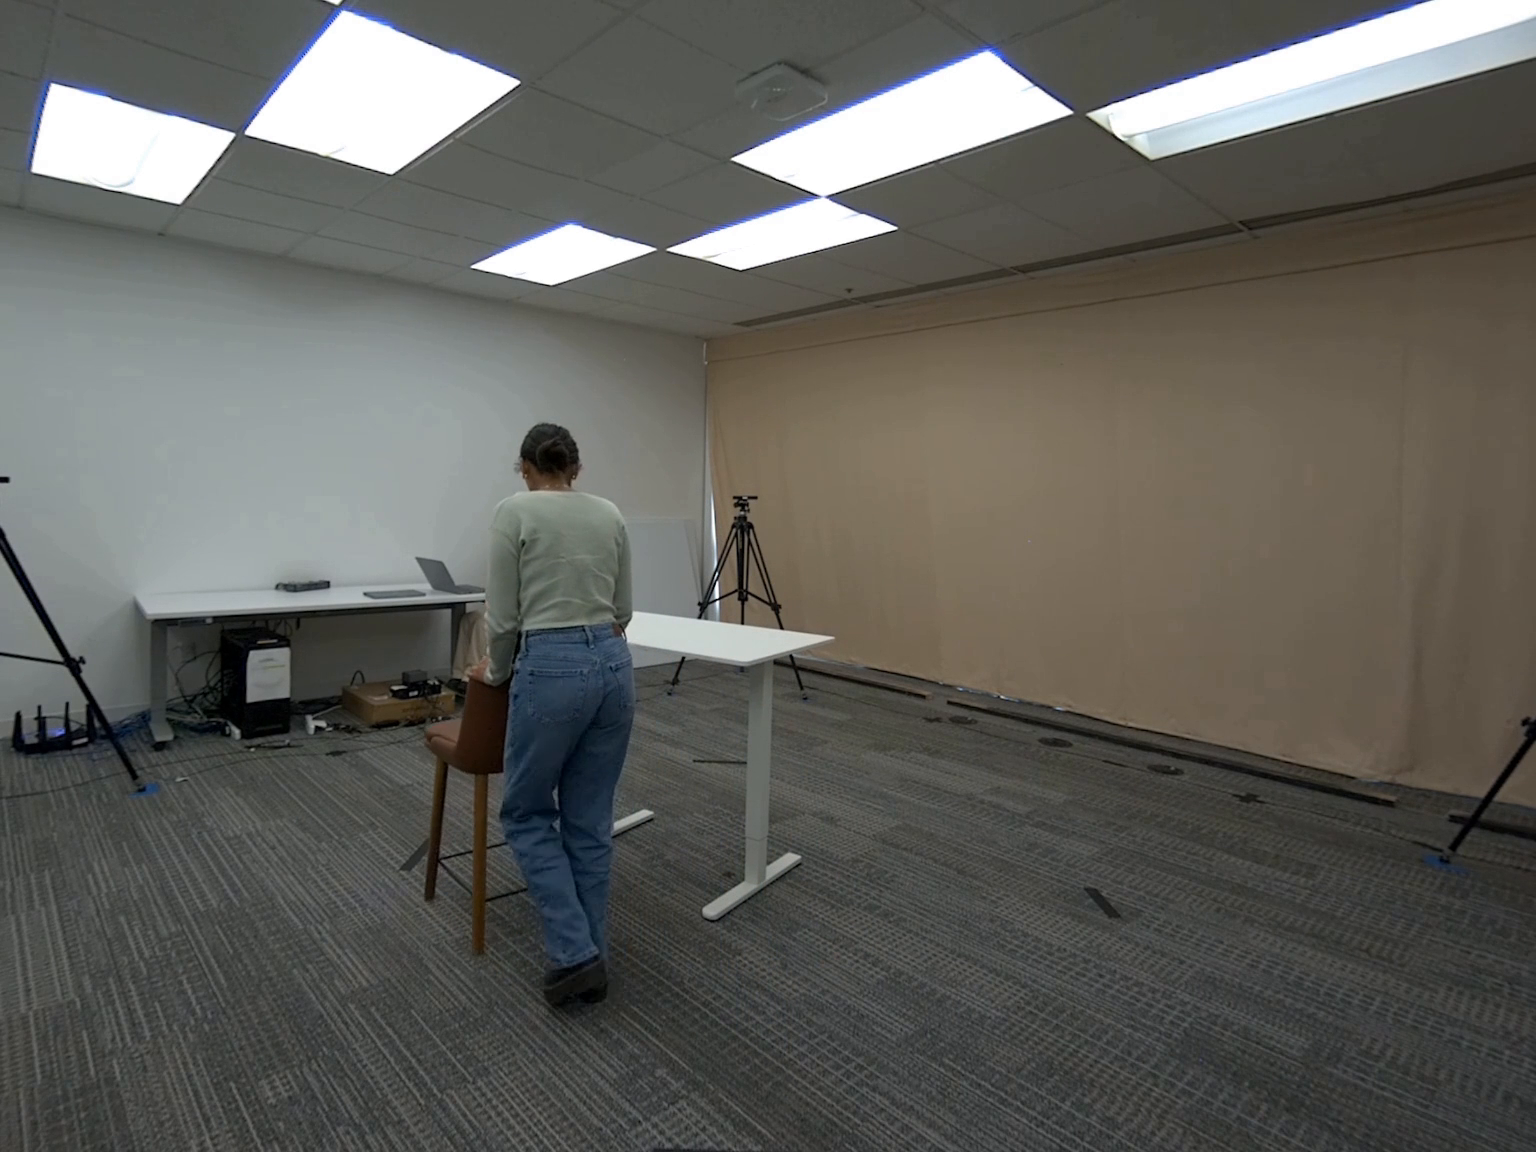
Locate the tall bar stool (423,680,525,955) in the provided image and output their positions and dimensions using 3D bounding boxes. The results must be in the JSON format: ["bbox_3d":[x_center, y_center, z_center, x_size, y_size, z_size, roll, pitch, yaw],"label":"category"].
[{"bbox_3d":[-0.867,0.681,2.777,0.446,0.886,0.480,-1,7,-38],"label":"tall bar stool"}]
